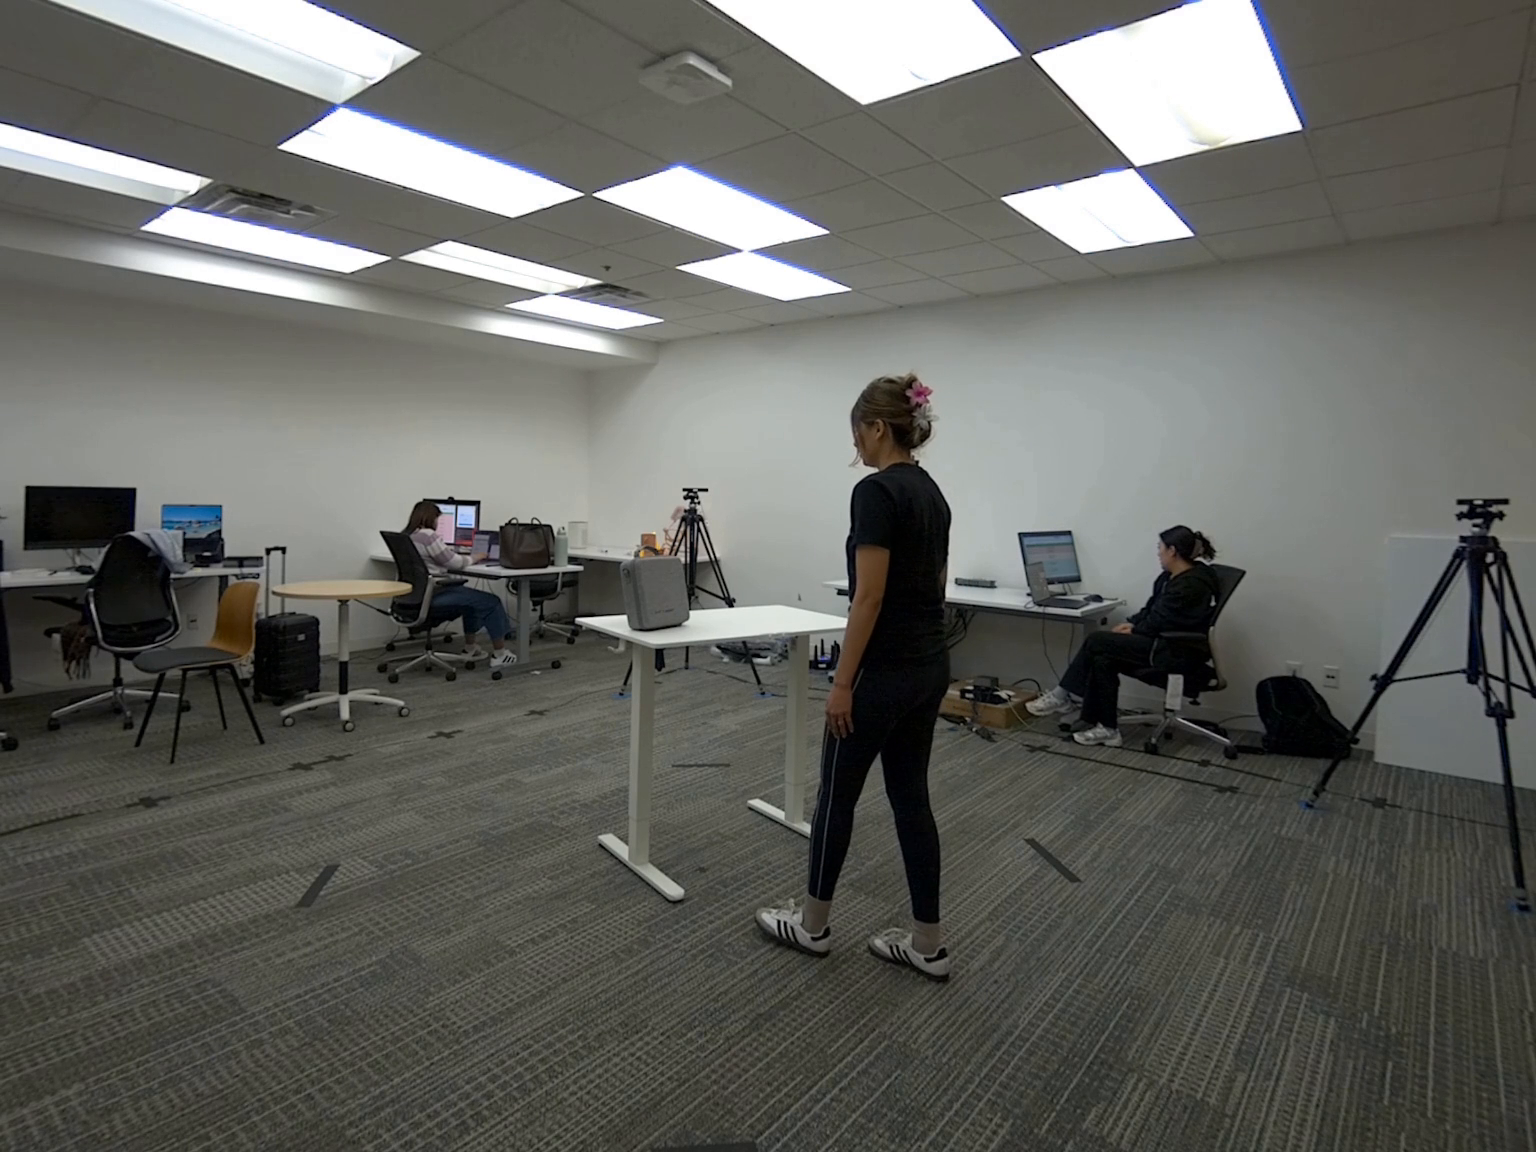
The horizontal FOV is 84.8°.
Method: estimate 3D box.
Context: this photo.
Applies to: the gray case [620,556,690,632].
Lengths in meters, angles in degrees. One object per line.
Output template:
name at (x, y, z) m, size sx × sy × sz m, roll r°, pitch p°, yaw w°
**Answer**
gray case at (-0.420, 0.052, 3.080) m, size 0.107 × 0.262 × 0.249 m, roll -12°, pitch -6°, yaw 35°
